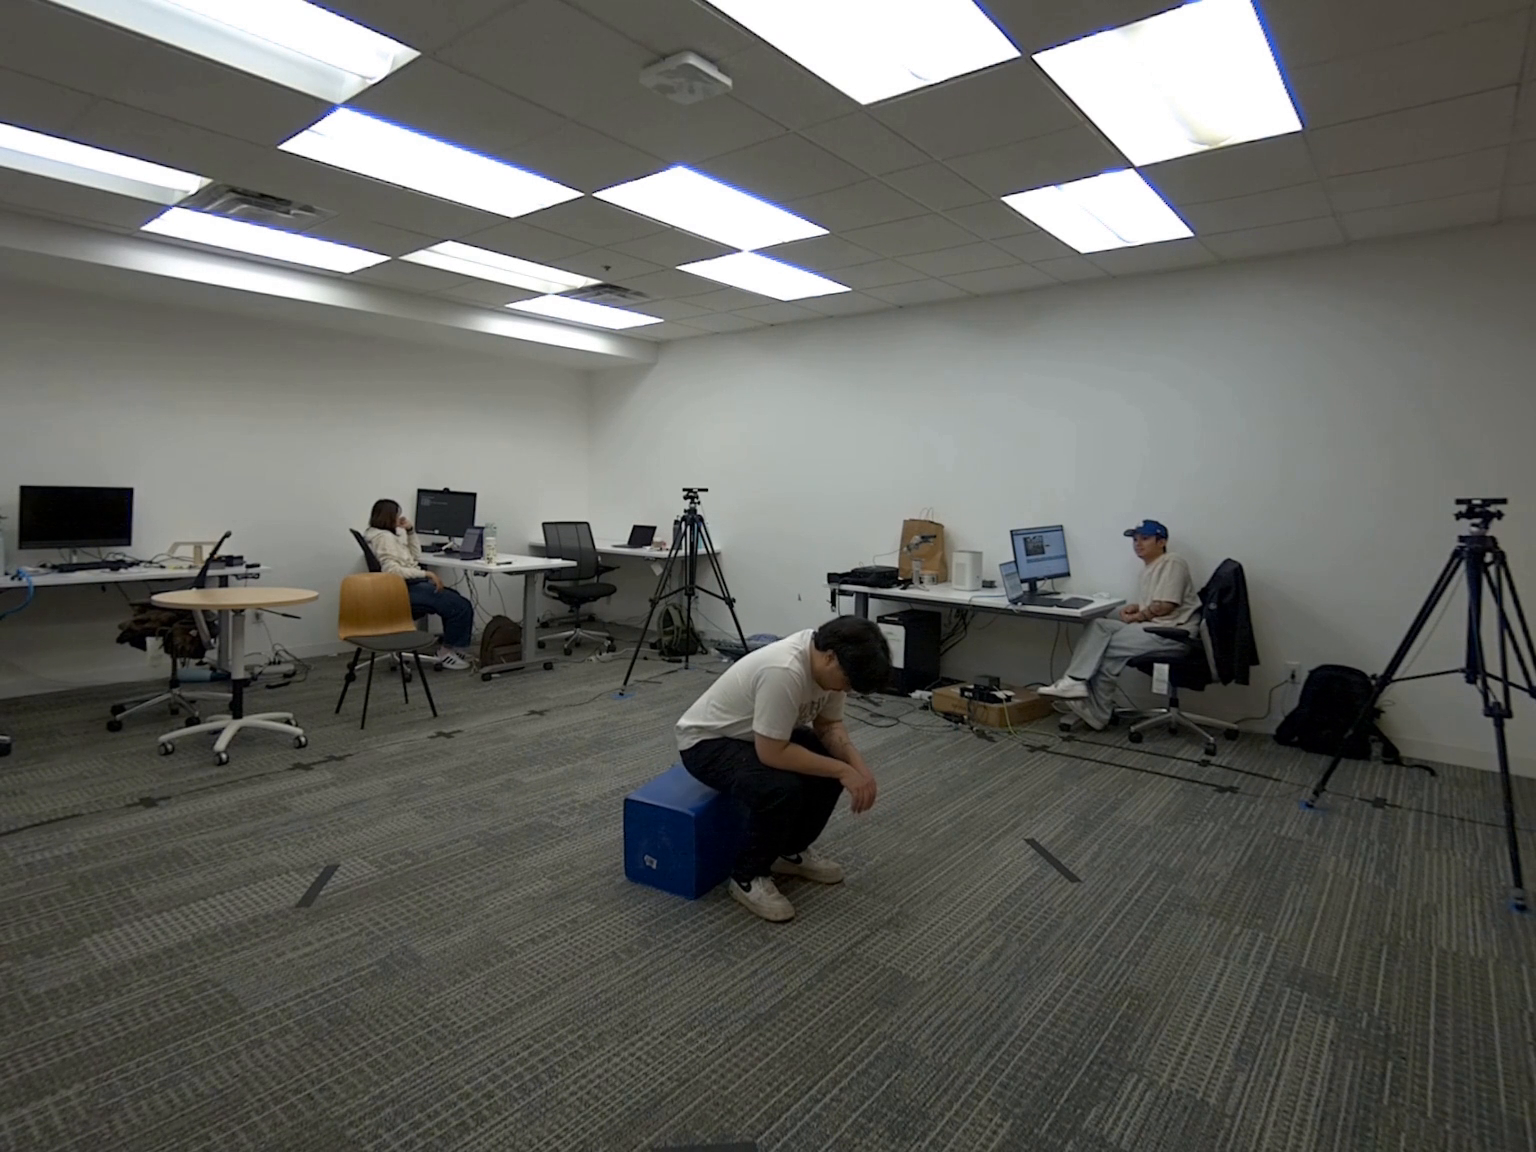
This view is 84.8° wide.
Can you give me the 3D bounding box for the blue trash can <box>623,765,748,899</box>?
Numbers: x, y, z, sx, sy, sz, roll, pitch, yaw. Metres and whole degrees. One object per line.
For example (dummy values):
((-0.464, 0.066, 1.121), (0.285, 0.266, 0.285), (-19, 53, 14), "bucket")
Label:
((-0.222, 0.890, 3.231), (0.389, 0.371, 0.698), (5, 10, 29), "blue trash can")
